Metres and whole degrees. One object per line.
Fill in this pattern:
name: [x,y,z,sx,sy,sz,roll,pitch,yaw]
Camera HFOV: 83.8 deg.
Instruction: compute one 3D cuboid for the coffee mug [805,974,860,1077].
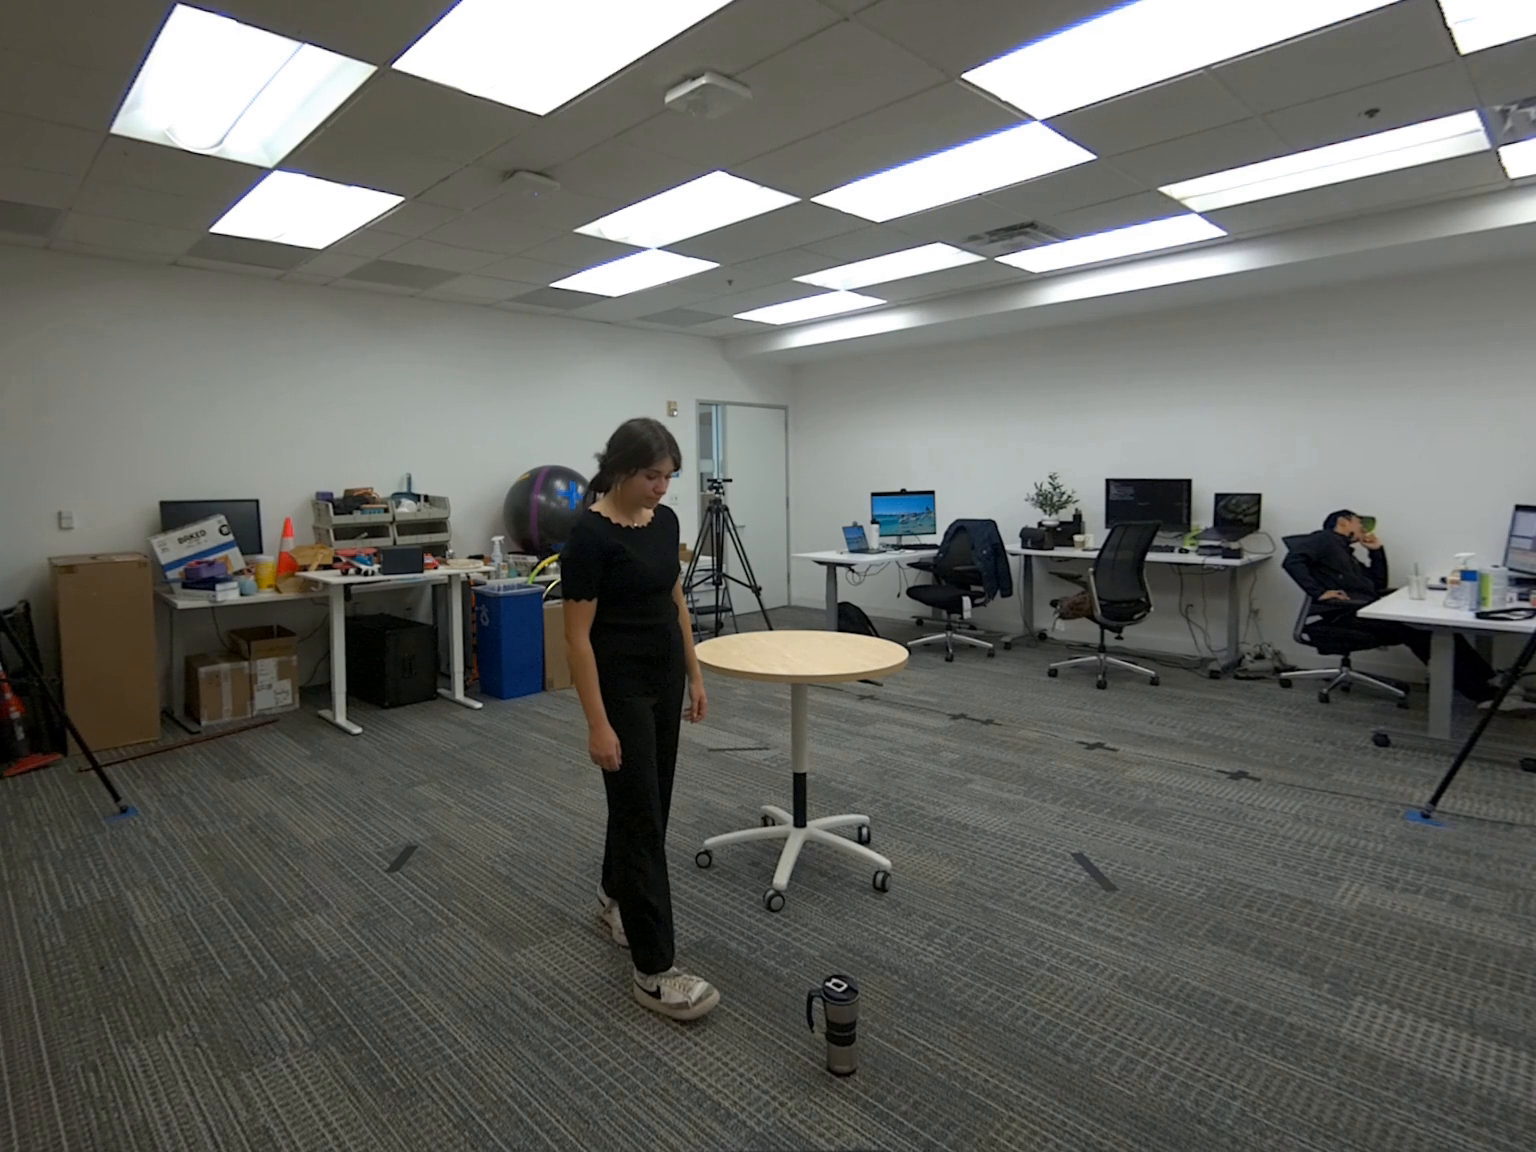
coffee mug: [0.148,1.069,2.037,0.125,0.201,0.086,3,9,27]
